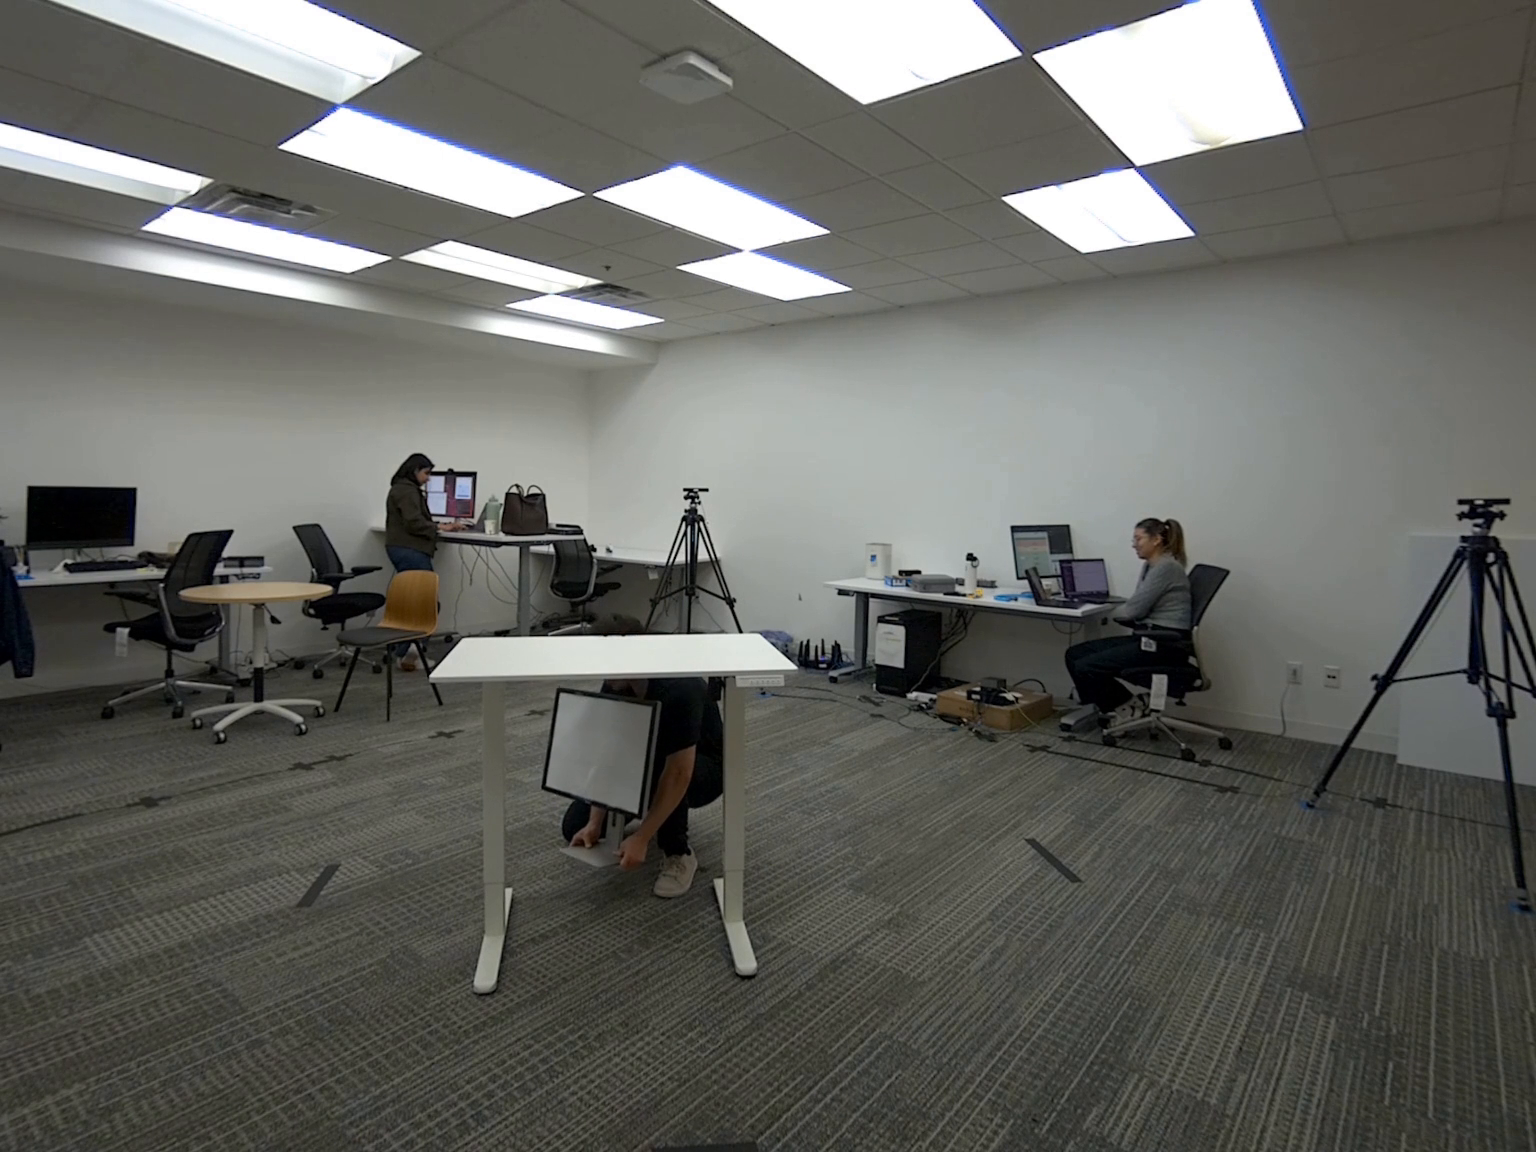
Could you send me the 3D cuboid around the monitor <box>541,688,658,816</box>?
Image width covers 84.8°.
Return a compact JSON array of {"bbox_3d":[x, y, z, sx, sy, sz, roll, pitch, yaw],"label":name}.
[{"bbox_3d":[-0.568,0.669,2.894,0.555,0.524,0.181,-3,-3,41],"label":"monitor"}]
